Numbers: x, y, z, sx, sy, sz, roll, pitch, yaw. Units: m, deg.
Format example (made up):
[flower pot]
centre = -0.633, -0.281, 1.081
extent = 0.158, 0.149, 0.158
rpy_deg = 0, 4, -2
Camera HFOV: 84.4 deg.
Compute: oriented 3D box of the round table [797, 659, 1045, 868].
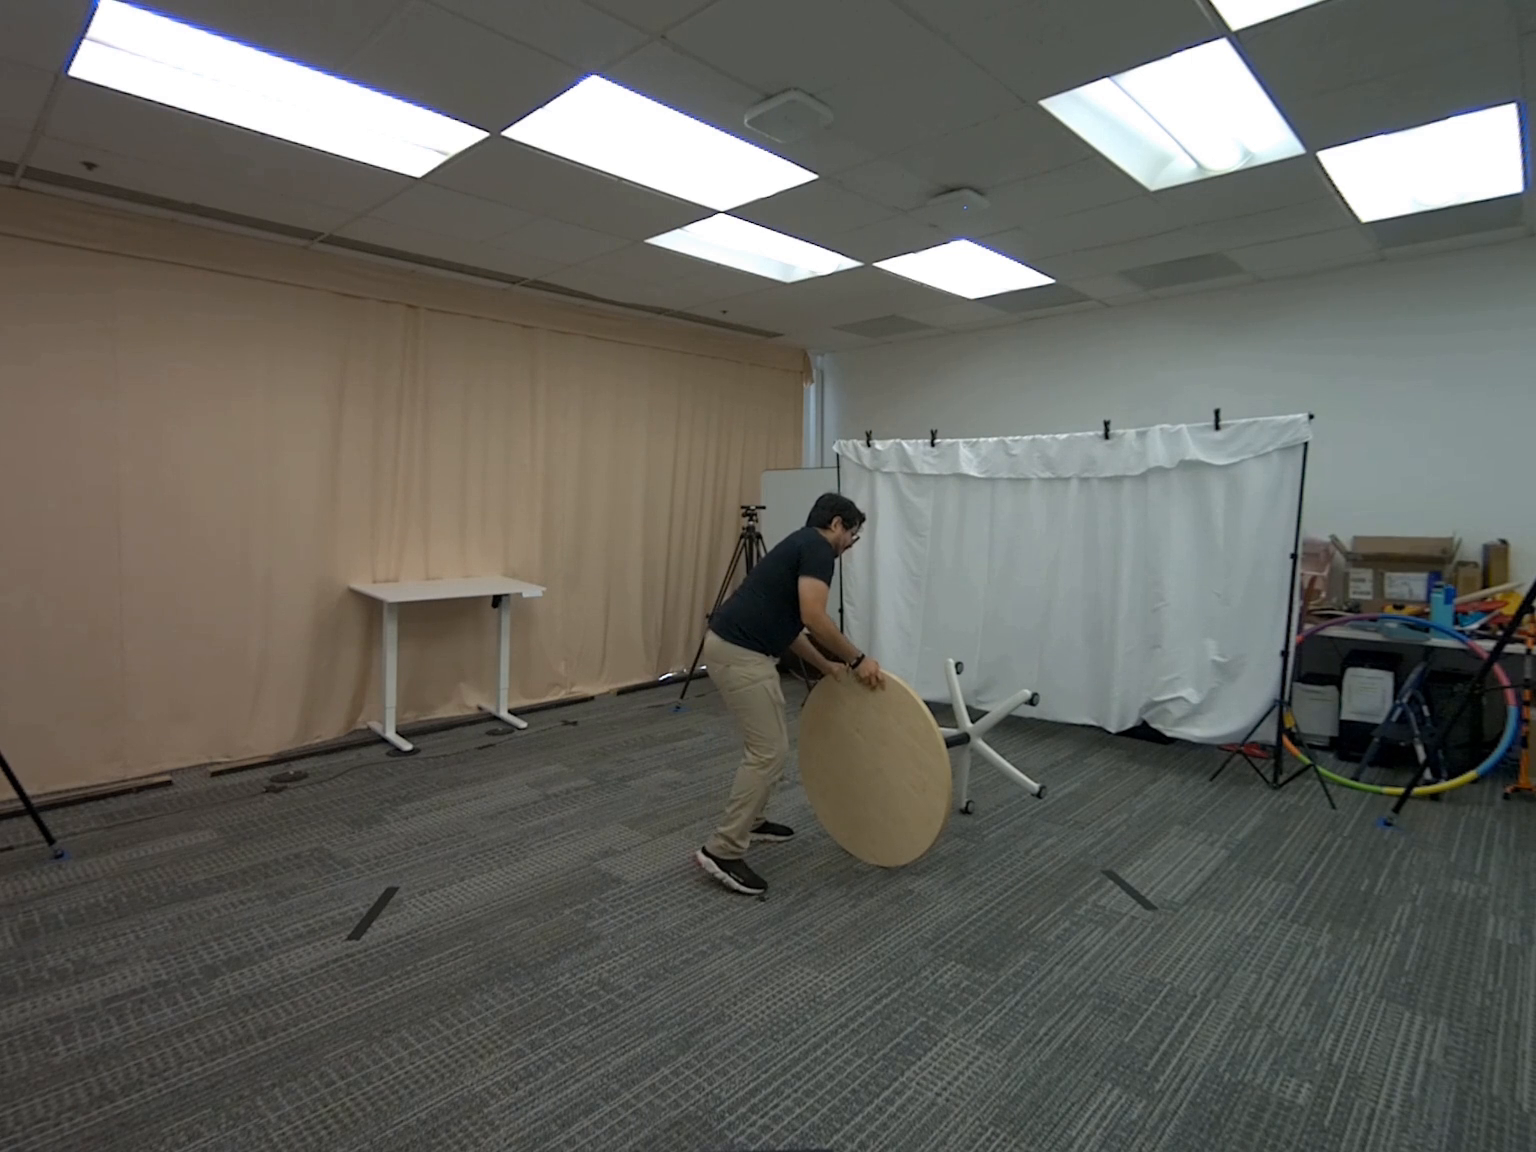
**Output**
[round table]
centre = 0.685, 0.717, 3.527
extent = 0.762, 0.783, 0.811
rpy_deg = -2, 4, -39
